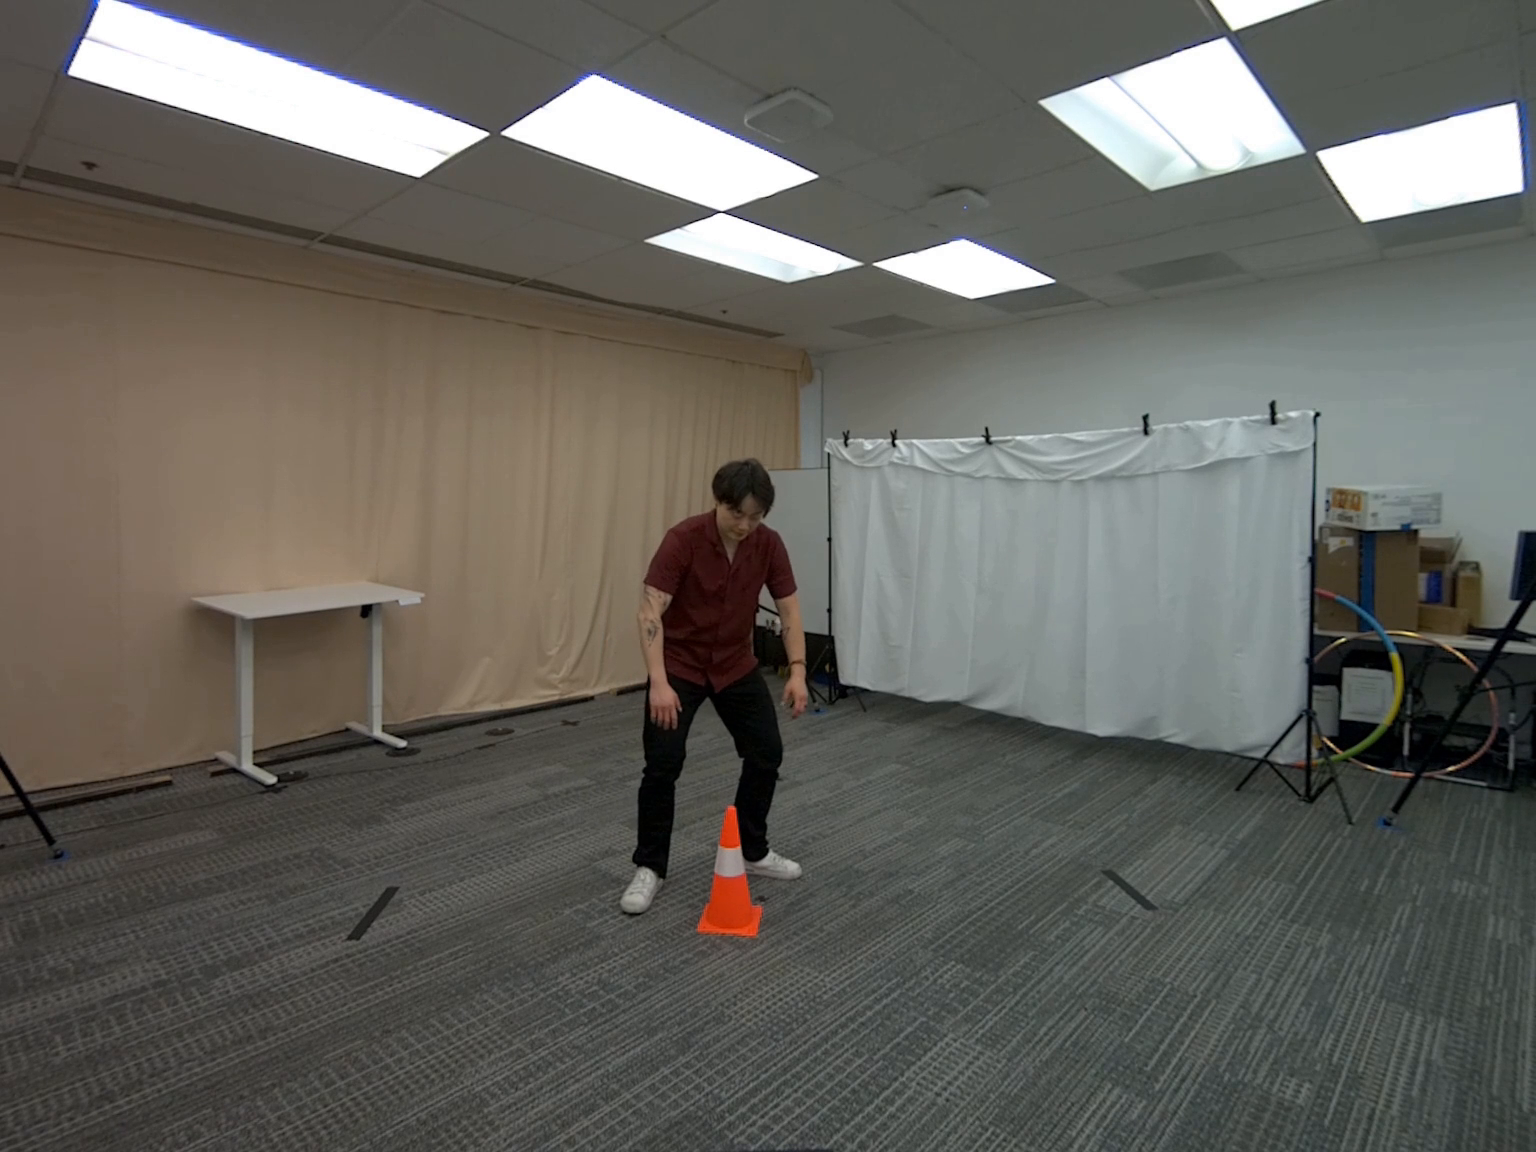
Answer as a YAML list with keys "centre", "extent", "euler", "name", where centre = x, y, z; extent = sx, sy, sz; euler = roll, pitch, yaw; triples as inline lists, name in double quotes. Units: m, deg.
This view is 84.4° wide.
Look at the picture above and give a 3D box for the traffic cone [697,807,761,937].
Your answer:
- centre: [-0.132, 0.971, 2.818]
  extent: [0.206, 0.382, 0.203]
  euler: [0, 5, 9]
  name: "traffic cone"
